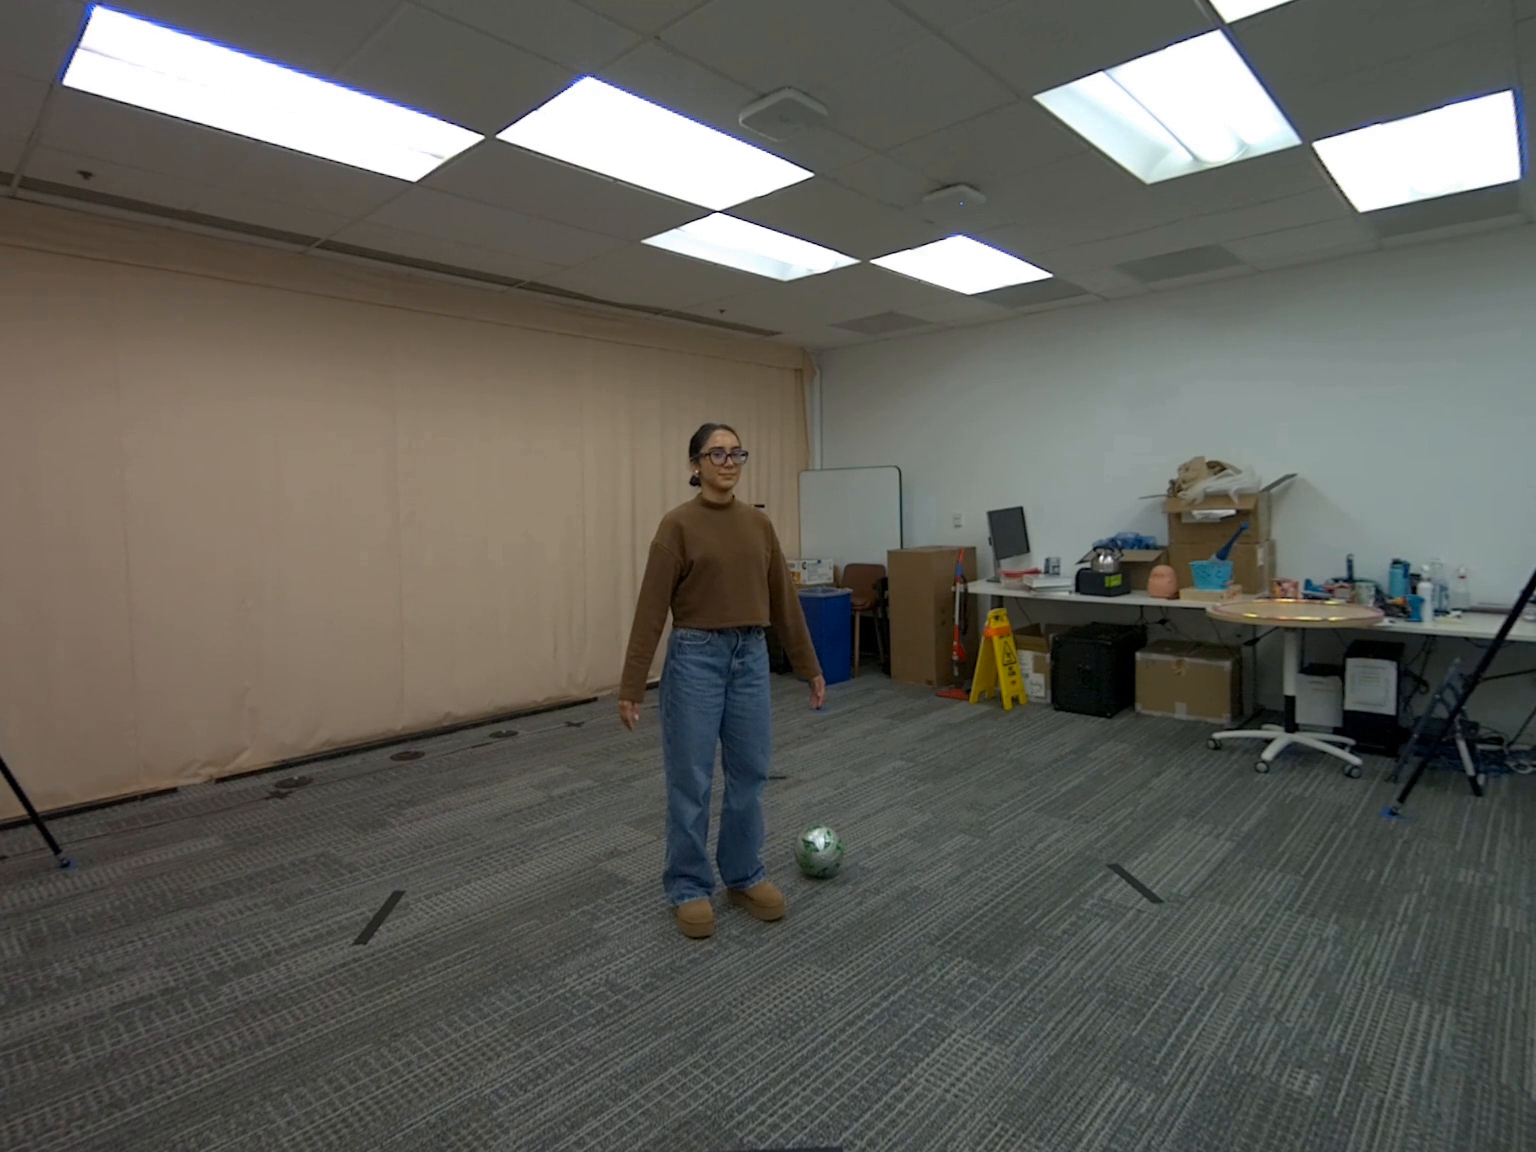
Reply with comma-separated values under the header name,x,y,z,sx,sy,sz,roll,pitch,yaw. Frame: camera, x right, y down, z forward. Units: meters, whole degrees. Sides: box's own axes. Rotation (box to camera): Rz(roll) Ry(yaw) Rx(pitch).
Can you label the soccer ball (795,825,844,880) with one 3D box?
name,x,y,z,sx,sy,sz,roll,pitch,yaw
soccer ball,0.195,1.024,3.151,0.187,0.187,0.188,-1,4,-2
